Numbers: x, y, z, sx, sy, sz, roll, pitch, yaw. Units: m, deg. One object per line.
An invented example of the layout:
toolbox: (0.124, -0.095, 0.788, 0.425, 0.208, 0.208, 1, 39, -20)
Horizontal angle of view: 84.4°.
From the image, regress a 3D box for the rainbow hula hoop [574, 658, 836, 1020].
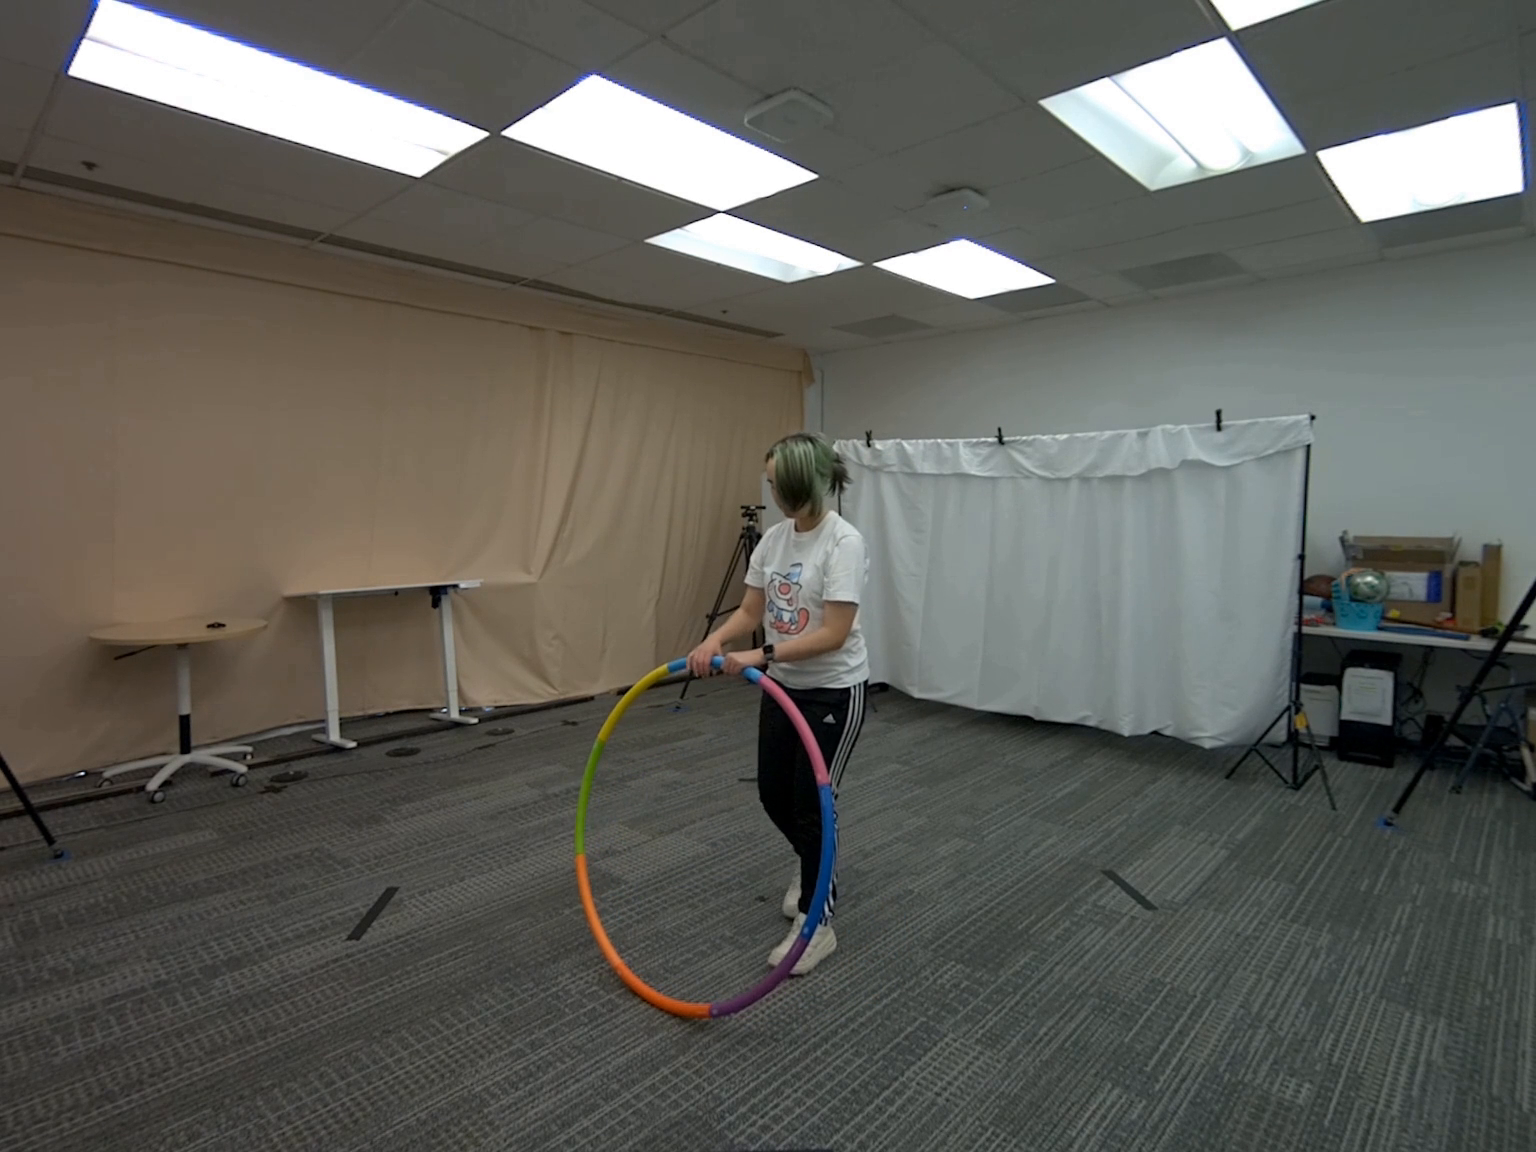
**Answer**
rainbow hula hoop: (-0.227, 0.726, 2.435, 1.011, 0.982, 0.034, 3, -13, 40)
